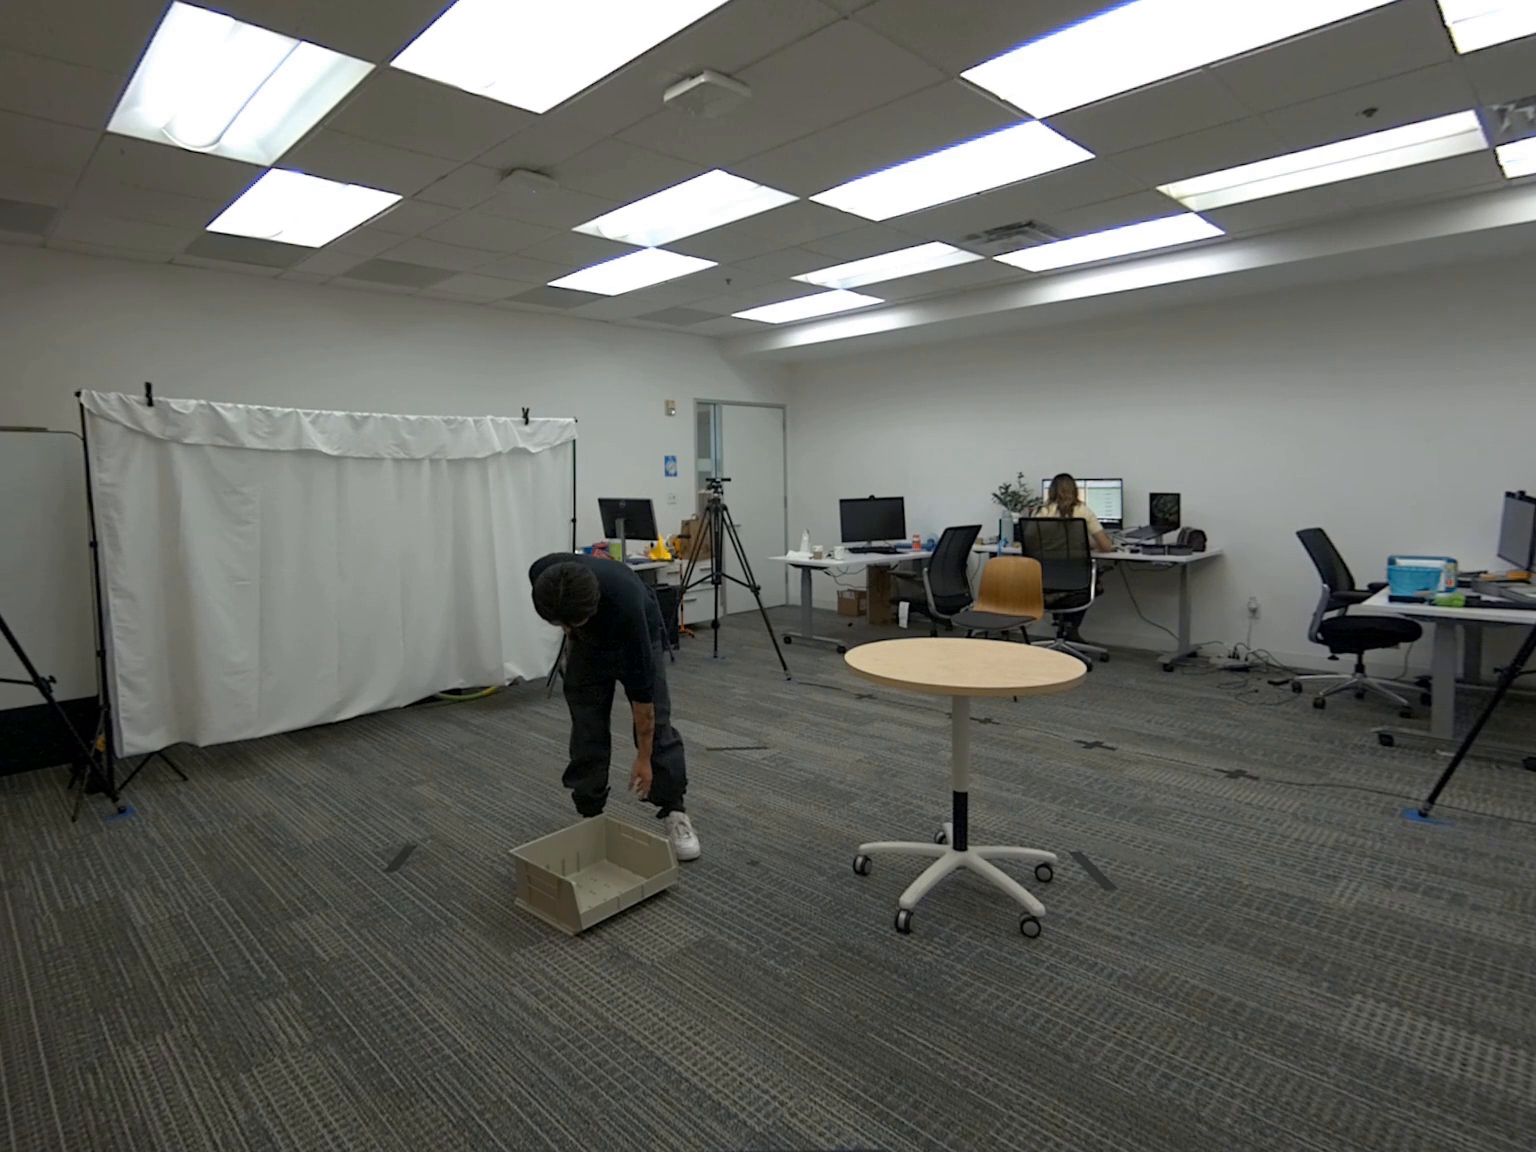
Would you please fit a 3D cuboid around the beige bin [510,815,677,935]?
[{"bbox_3d":[-0.581,0.994,2.863,0.389,0.188,0.412,3,8,41],"label":"beige bin"}]
